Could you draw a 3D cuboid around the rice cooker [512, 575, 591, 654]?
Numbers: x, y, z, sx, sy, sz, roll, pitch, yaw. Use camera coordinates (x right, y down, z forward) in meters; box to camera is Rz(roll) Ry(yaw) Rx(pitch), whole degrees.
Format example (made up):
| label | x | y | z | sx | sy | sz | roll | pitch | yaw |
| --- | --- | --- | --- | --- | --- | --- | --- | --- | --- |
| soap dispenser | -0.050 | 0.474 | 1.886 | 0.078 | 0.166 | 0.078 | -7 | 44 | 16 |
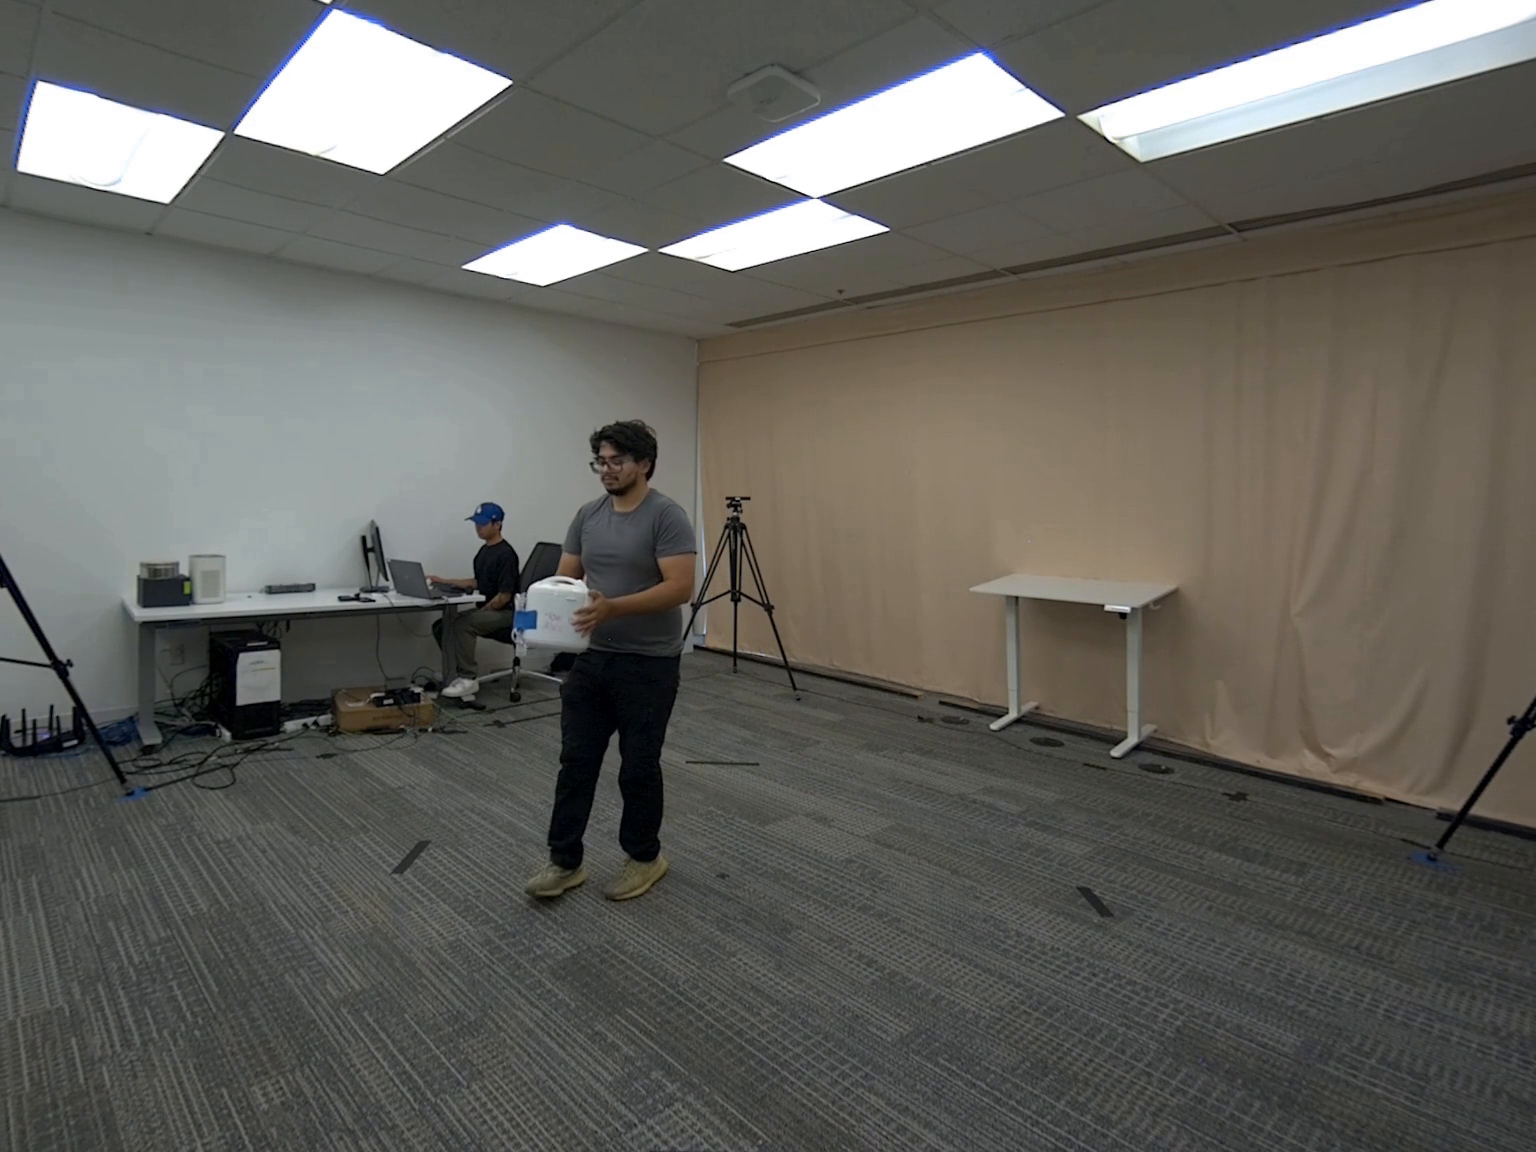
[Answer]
| label | x | y | z | sx | sy | sz | roll | pitch | yaw |
| --- | --- | --- | --- | --- | --- | --- | --- | --- | --- |
| rice cooker | -0.671 | 0.119 | 2.615 | 0.224 | 0.233 | 0.213 | 5 | -5 | 21 |
